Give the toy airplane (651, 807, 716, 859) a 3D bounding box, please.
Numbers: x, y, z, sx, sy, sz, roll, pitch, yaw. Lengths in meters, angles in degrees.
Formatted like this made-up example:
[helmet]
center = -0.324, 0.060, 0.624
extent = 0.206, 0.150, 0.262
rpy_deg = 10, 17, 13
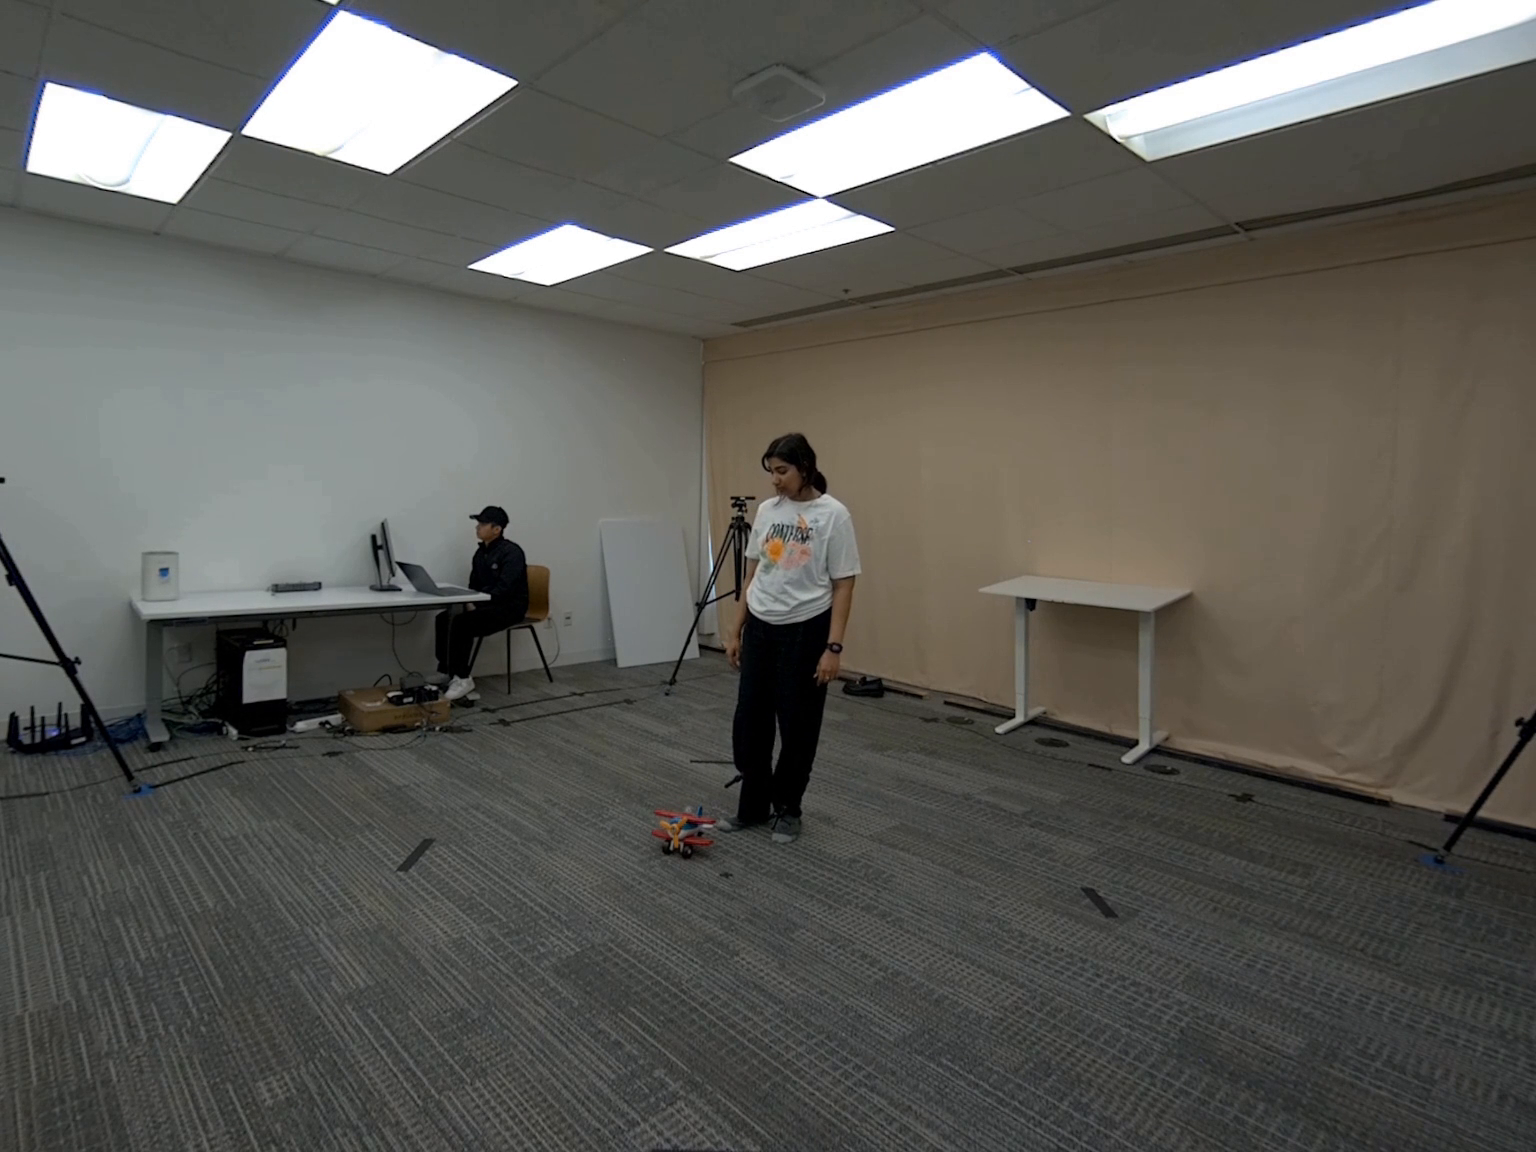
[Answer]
[toy airplane]
center = -0.351, 1.000, 3.341
extent = 0.250, 0.156, 0.261
rpy_deg = 1, 6, -6
